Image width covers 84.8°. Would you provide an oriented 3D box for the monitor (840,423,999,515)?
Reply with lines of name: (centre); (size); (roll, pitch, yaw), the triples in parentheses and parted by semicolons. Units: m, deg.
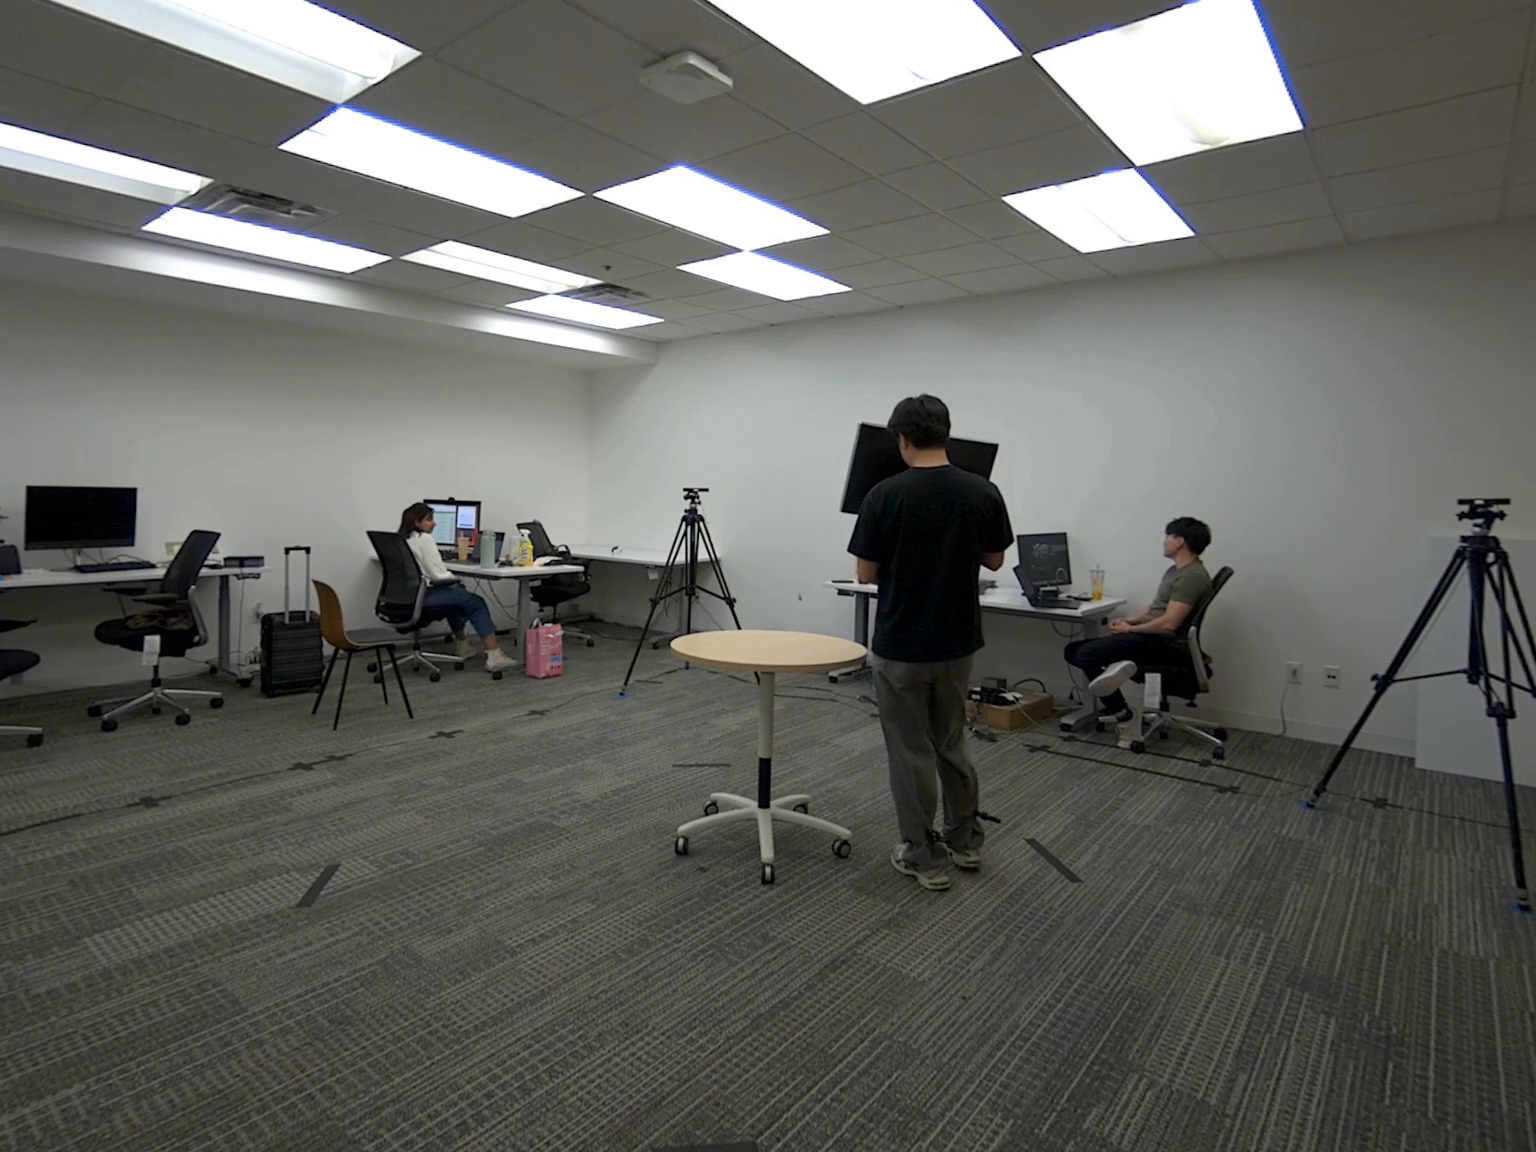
monitor: (0.561, -0.278, 3.290); (0.559, 0.565, 0.224); (9, 3, -5)
